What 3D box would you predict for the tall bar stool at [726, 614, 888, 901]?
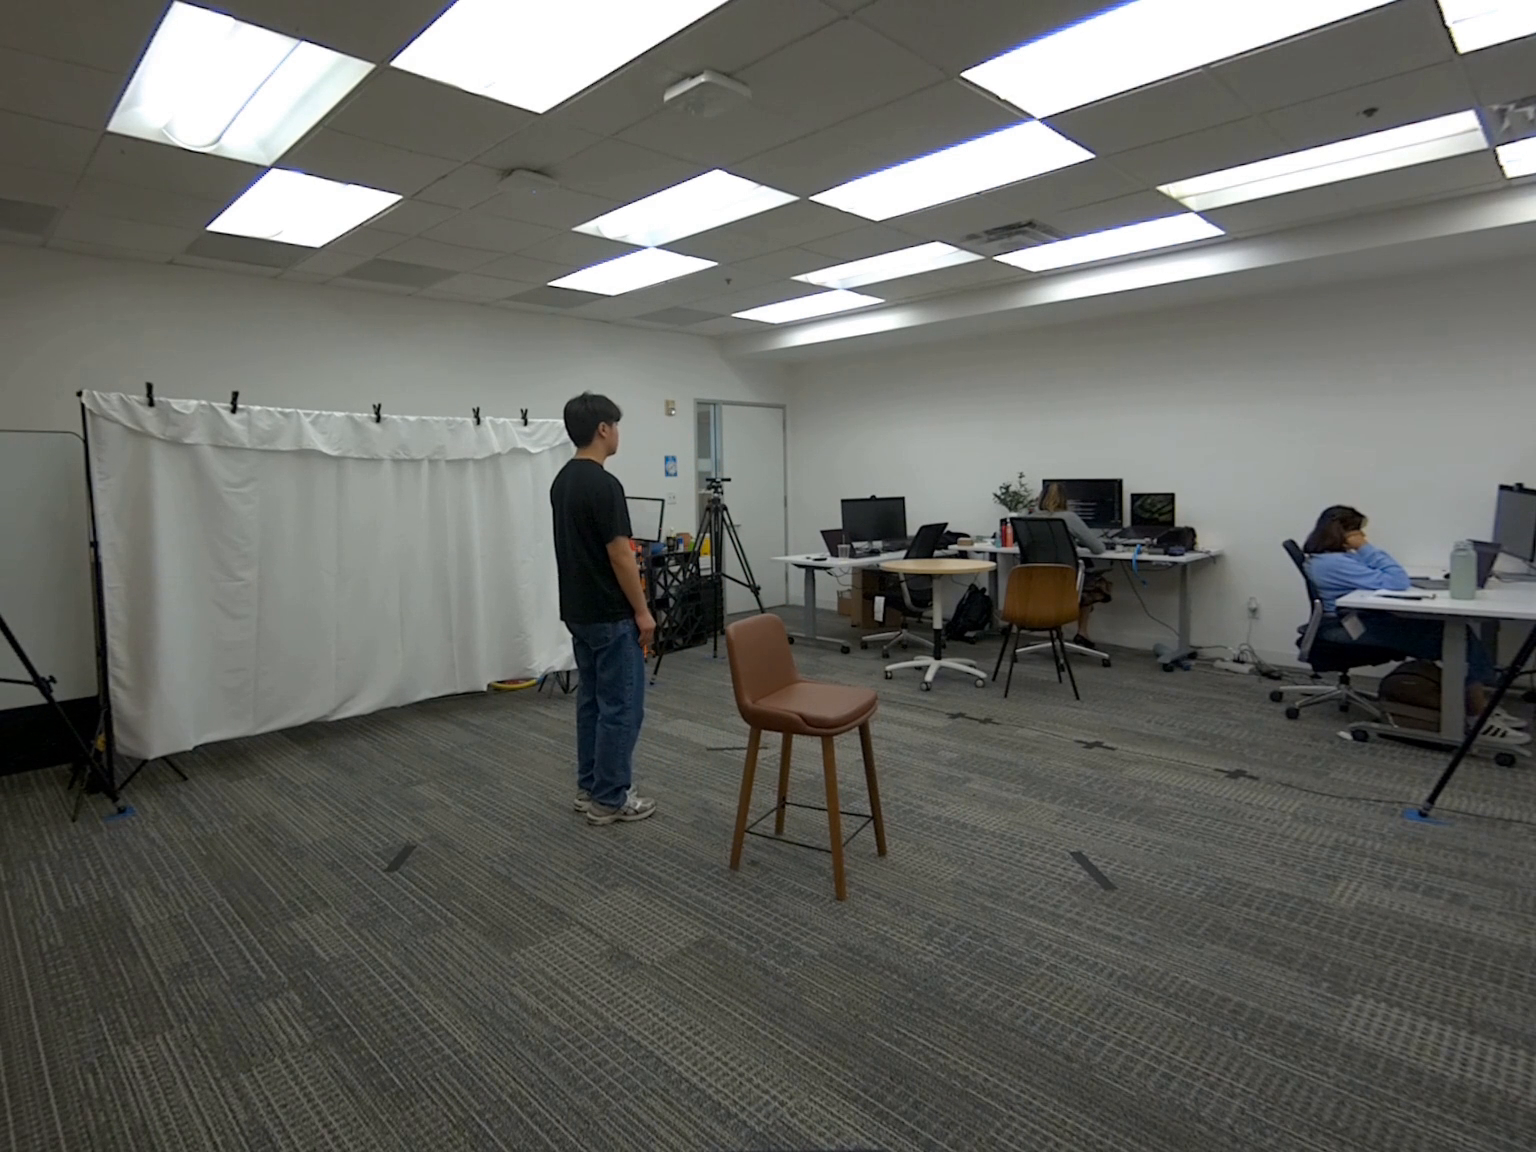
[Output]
[{"bbox_3d":[0.139,0.605,3.079,0.480,0.888,0.446,-1,3,31],"label":"tall bar stool"}]
